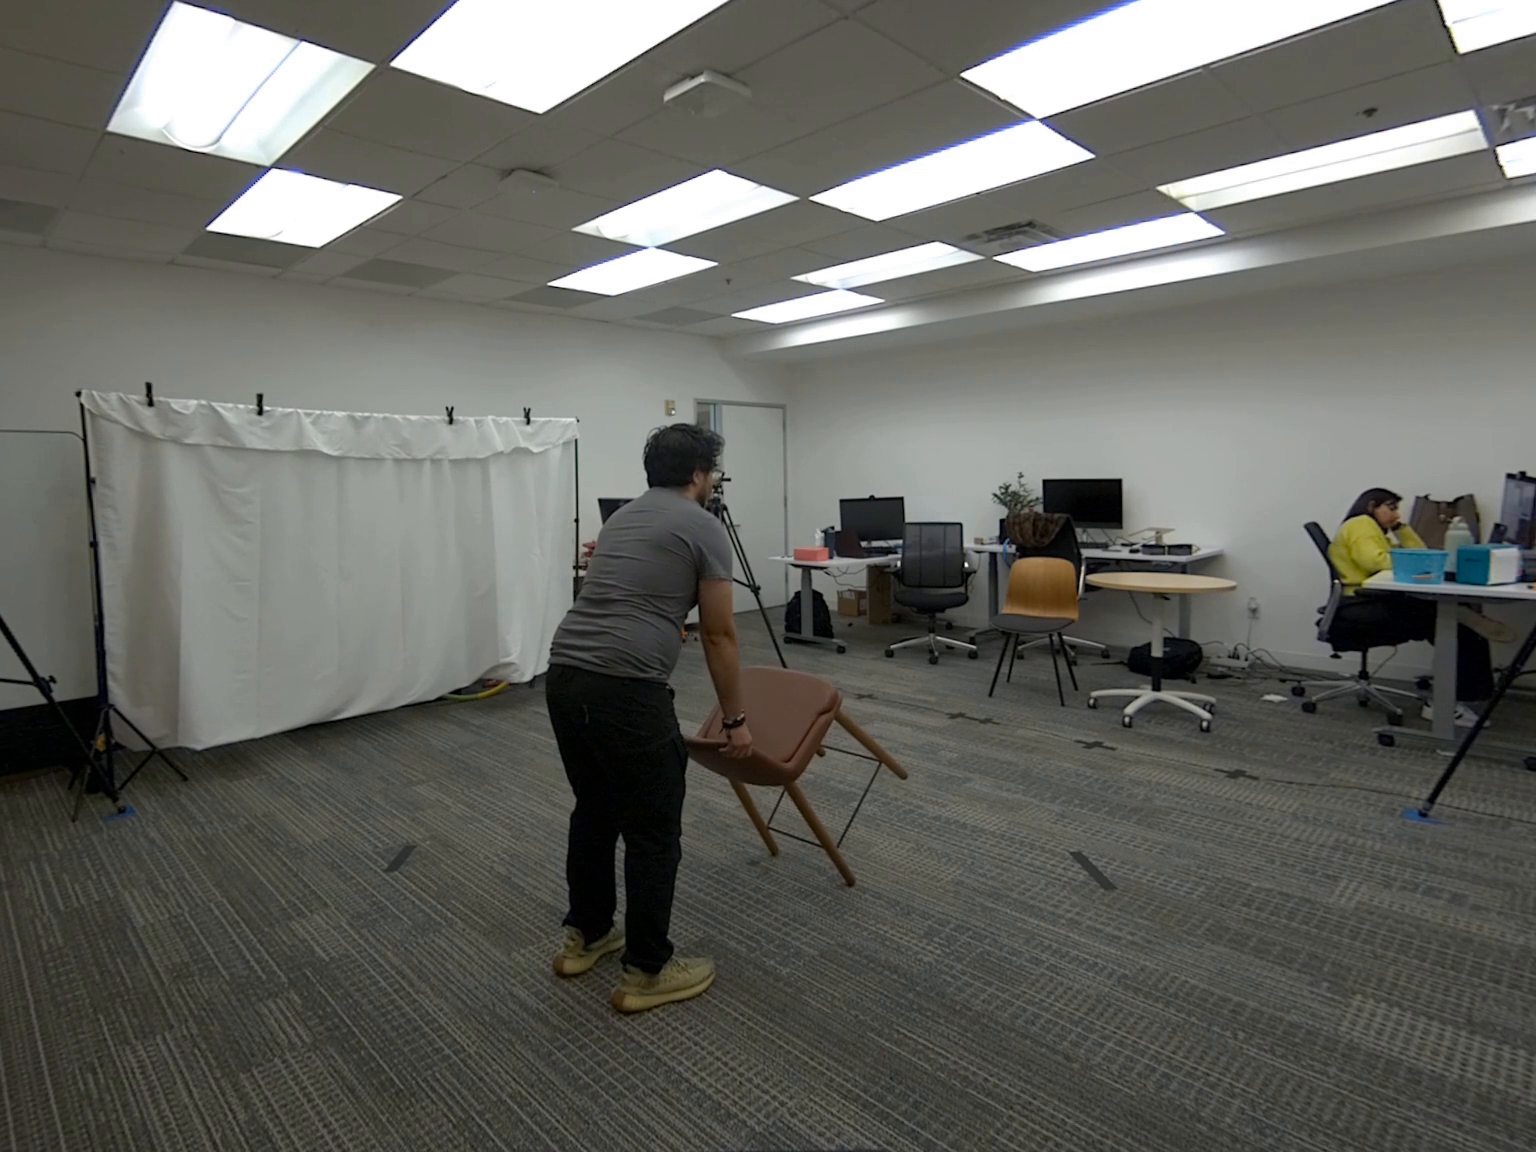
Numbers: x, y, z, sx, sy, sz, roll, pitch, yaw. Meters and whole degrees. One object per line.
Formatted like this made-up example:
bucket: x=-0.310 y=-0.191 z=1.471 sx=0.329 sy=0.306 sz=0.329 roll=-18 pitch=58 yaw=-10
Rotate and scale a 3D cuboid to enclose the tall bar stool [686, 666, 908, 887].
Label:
tall bar stool: x=0.052 y=0.601 z=2.915 sx=0.471 sy=0.470 sz=0.857 roll=5 pitch=-37 yaw=43
